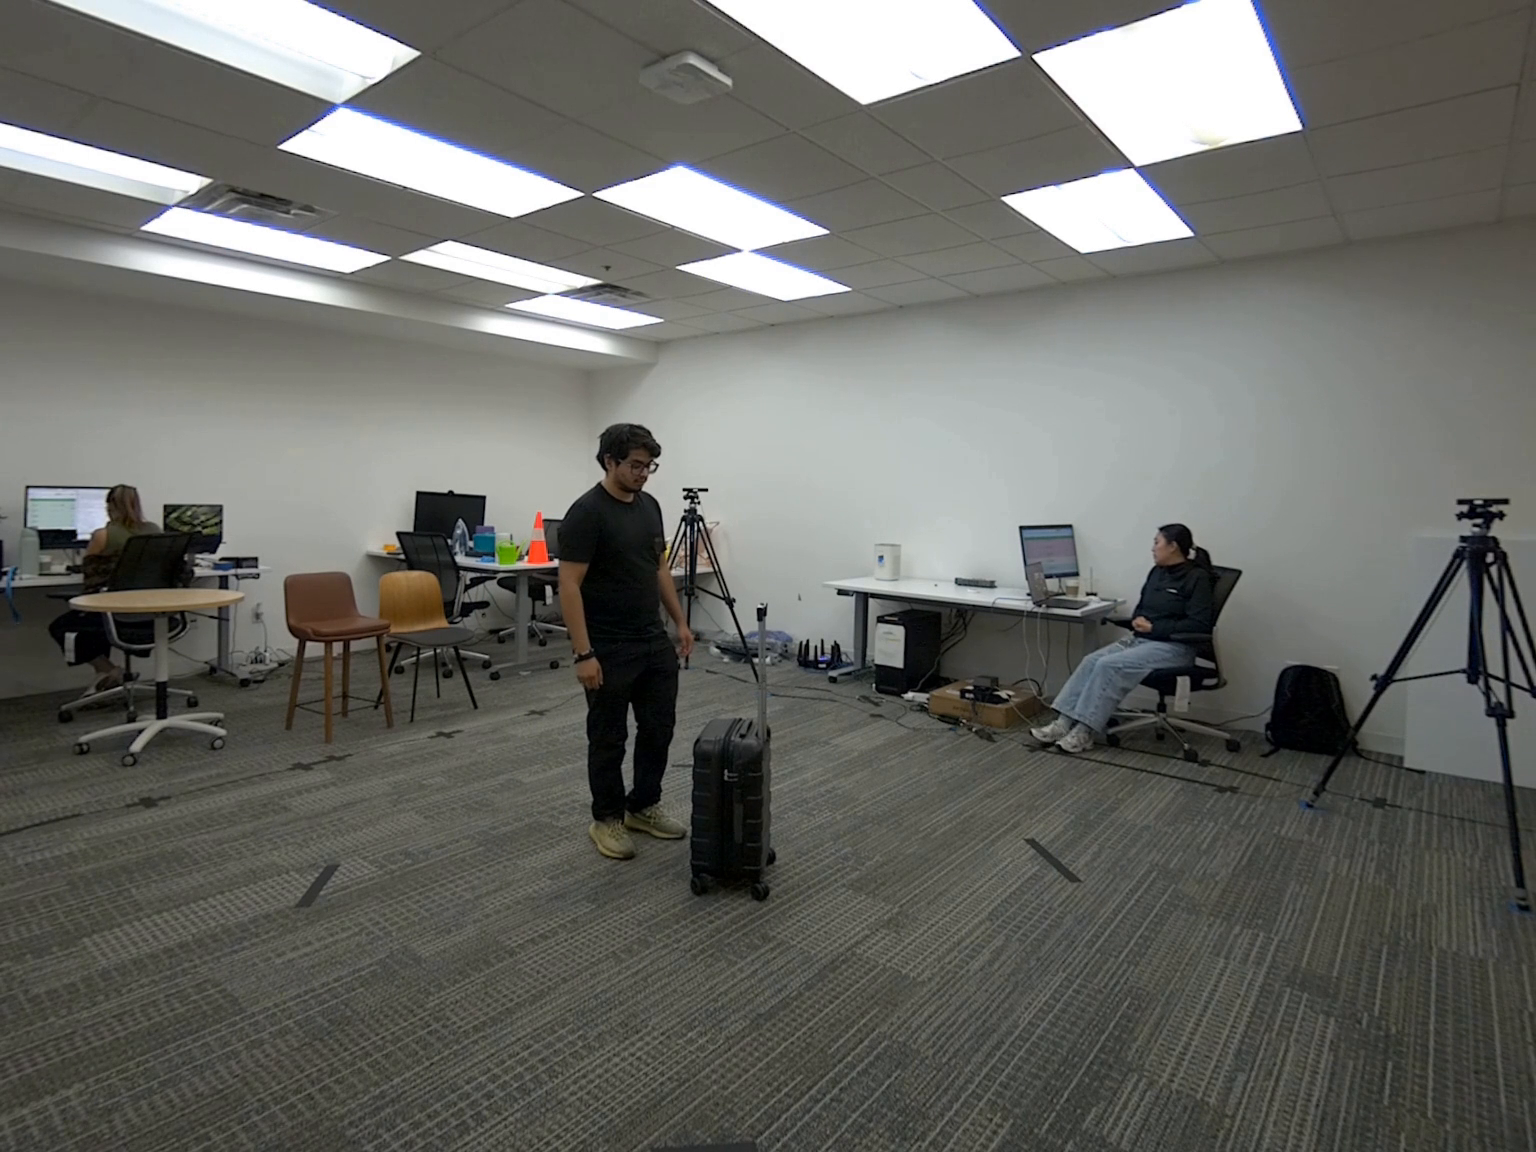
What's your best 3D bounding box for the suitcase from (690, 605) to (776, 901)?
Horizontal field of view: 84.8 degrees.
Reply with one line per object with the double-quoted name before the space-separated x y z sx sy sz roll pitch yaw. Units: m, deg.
"suitcase" -0.137 0.600 3.046 0.259 0.978 0.381 -2 1 7
